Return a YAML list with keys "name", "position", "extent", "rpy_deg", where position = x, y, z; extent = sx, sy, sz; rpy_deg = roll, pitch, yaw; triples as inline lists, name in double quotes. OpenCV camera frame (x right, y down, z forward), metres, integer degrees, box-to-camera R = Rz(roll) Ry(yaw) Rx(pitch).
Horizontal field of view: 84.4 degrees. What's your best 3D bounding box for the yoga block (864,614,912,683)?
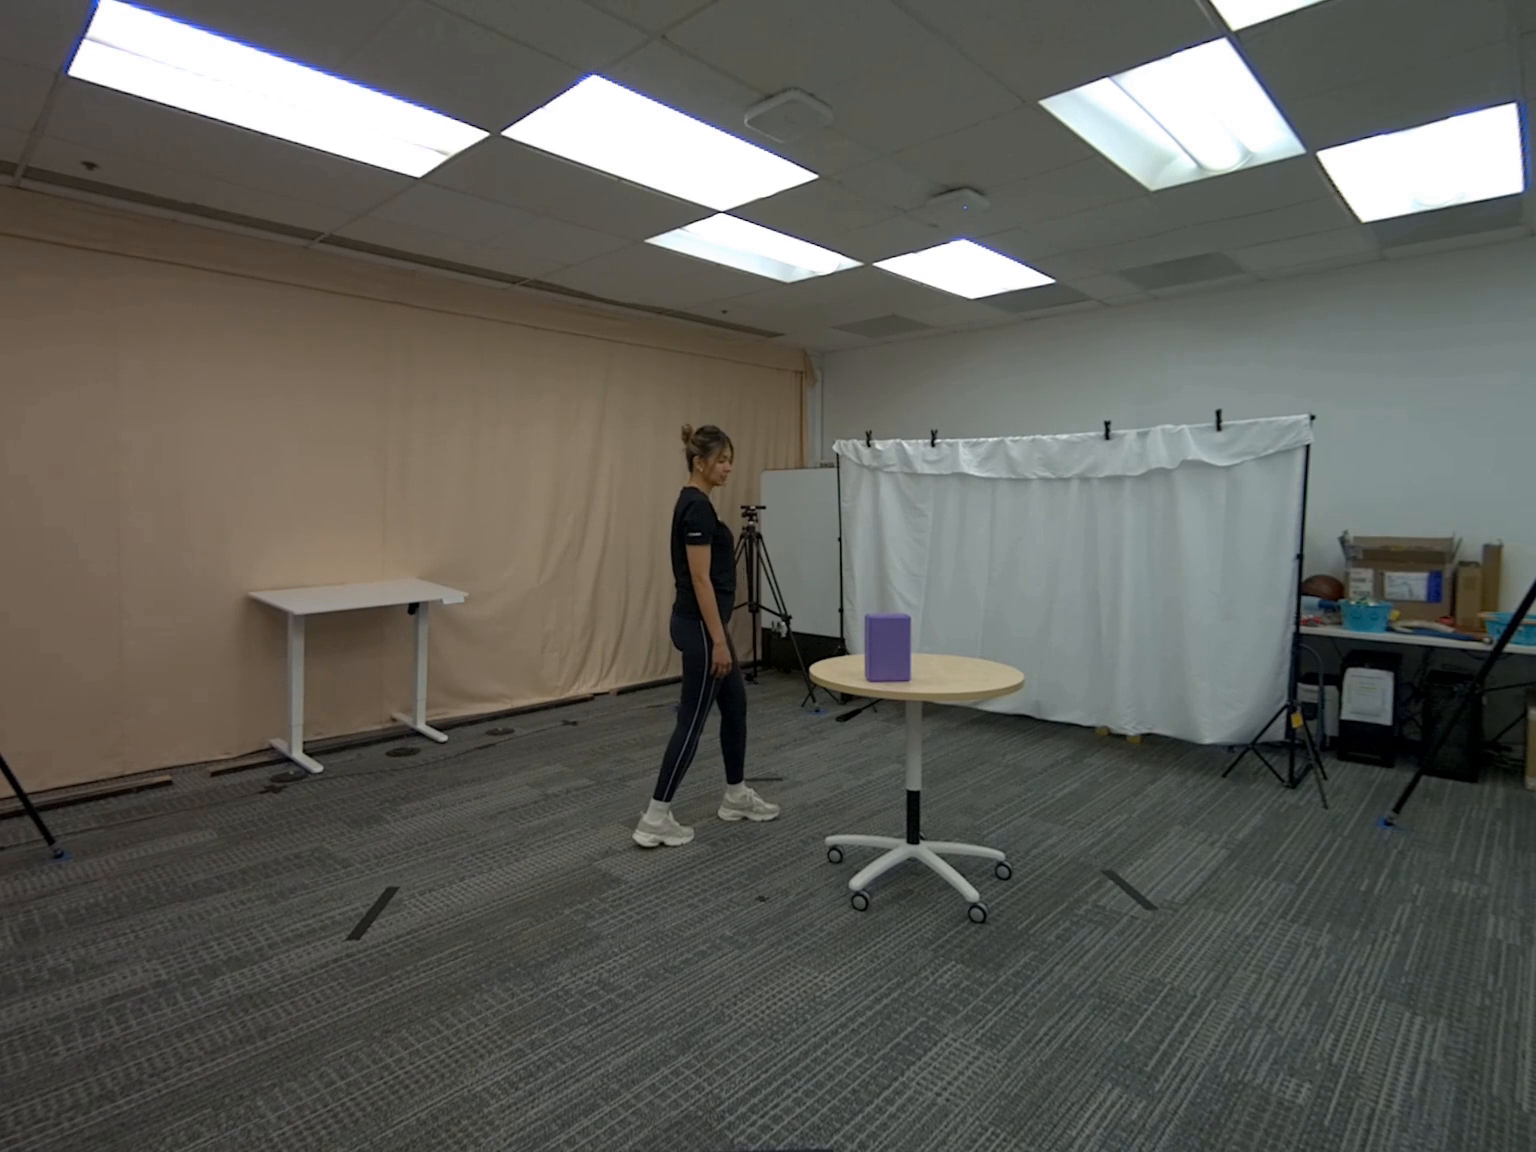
- name: "yoga block"
  position: [0.422, 0.249, 2.924]
  extent: [0.149, 0.229, 0.076]
  rpy_deg: [-6, 2, 2]
